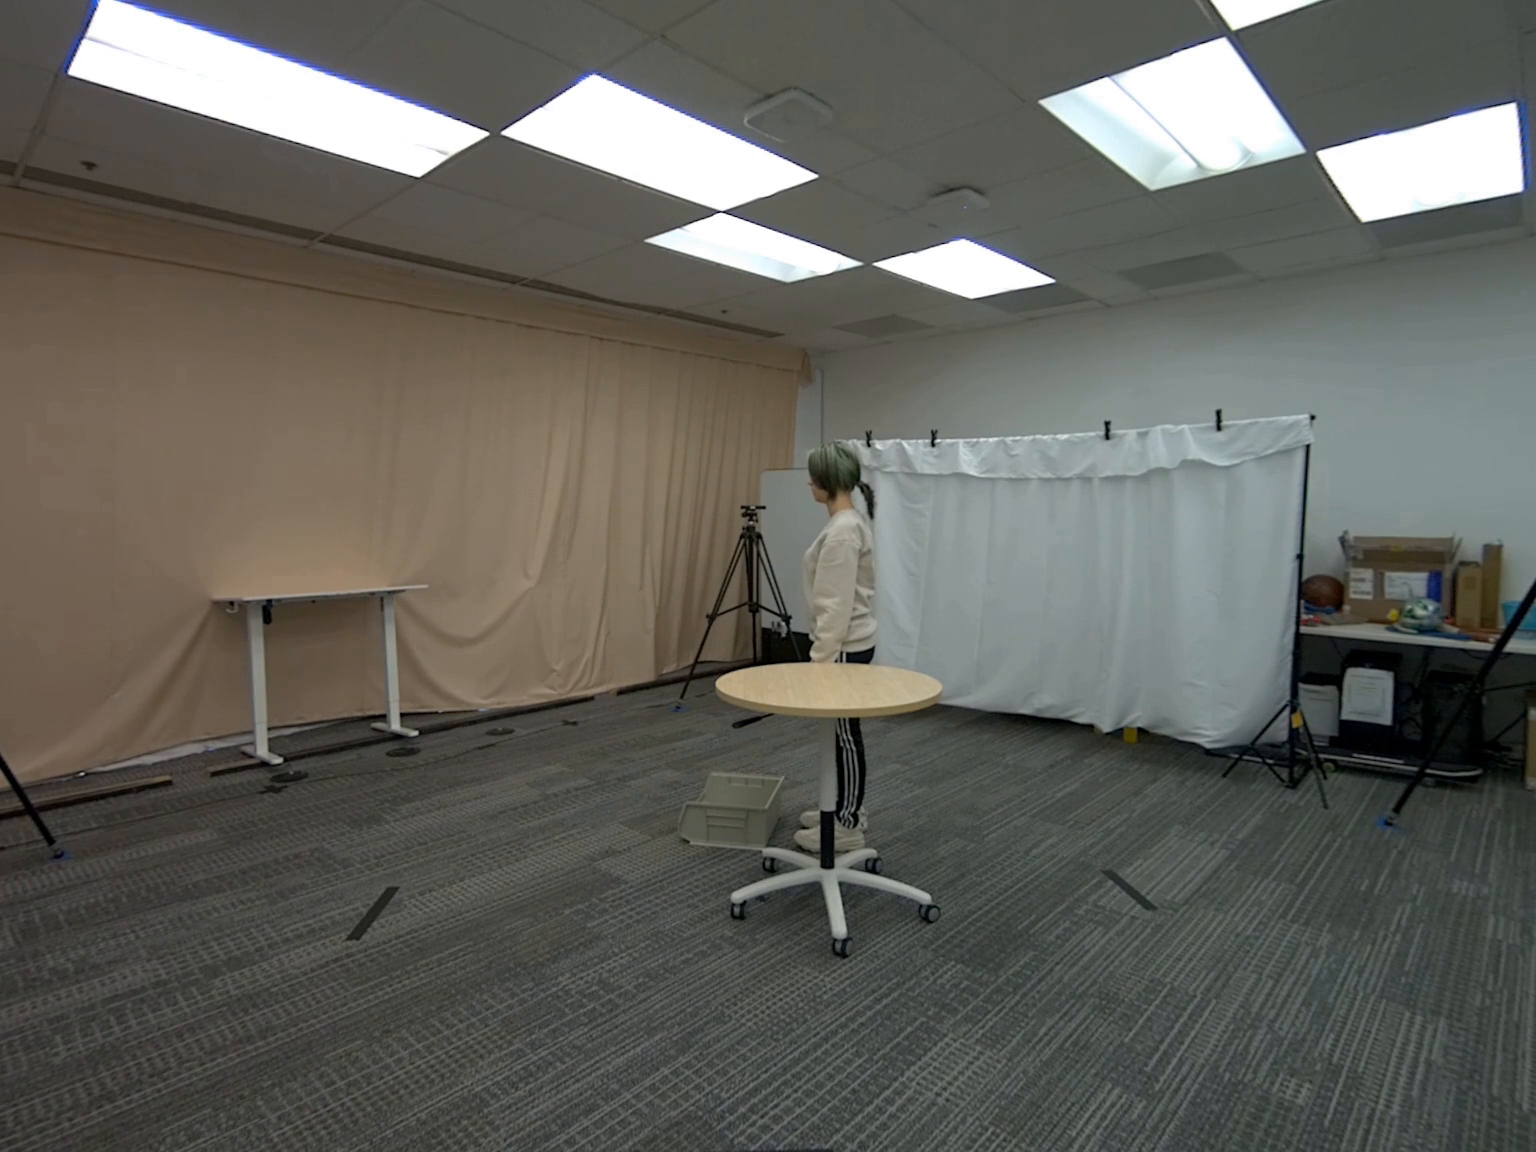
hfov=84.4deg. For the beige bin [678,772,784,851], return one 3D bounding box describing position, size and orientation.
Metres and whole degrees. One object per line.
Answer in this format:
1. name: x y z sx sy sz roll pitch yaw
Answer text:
1. beige bin: -0.152 1.005 3.629 0.383 0.188 0.417 1 4 12
